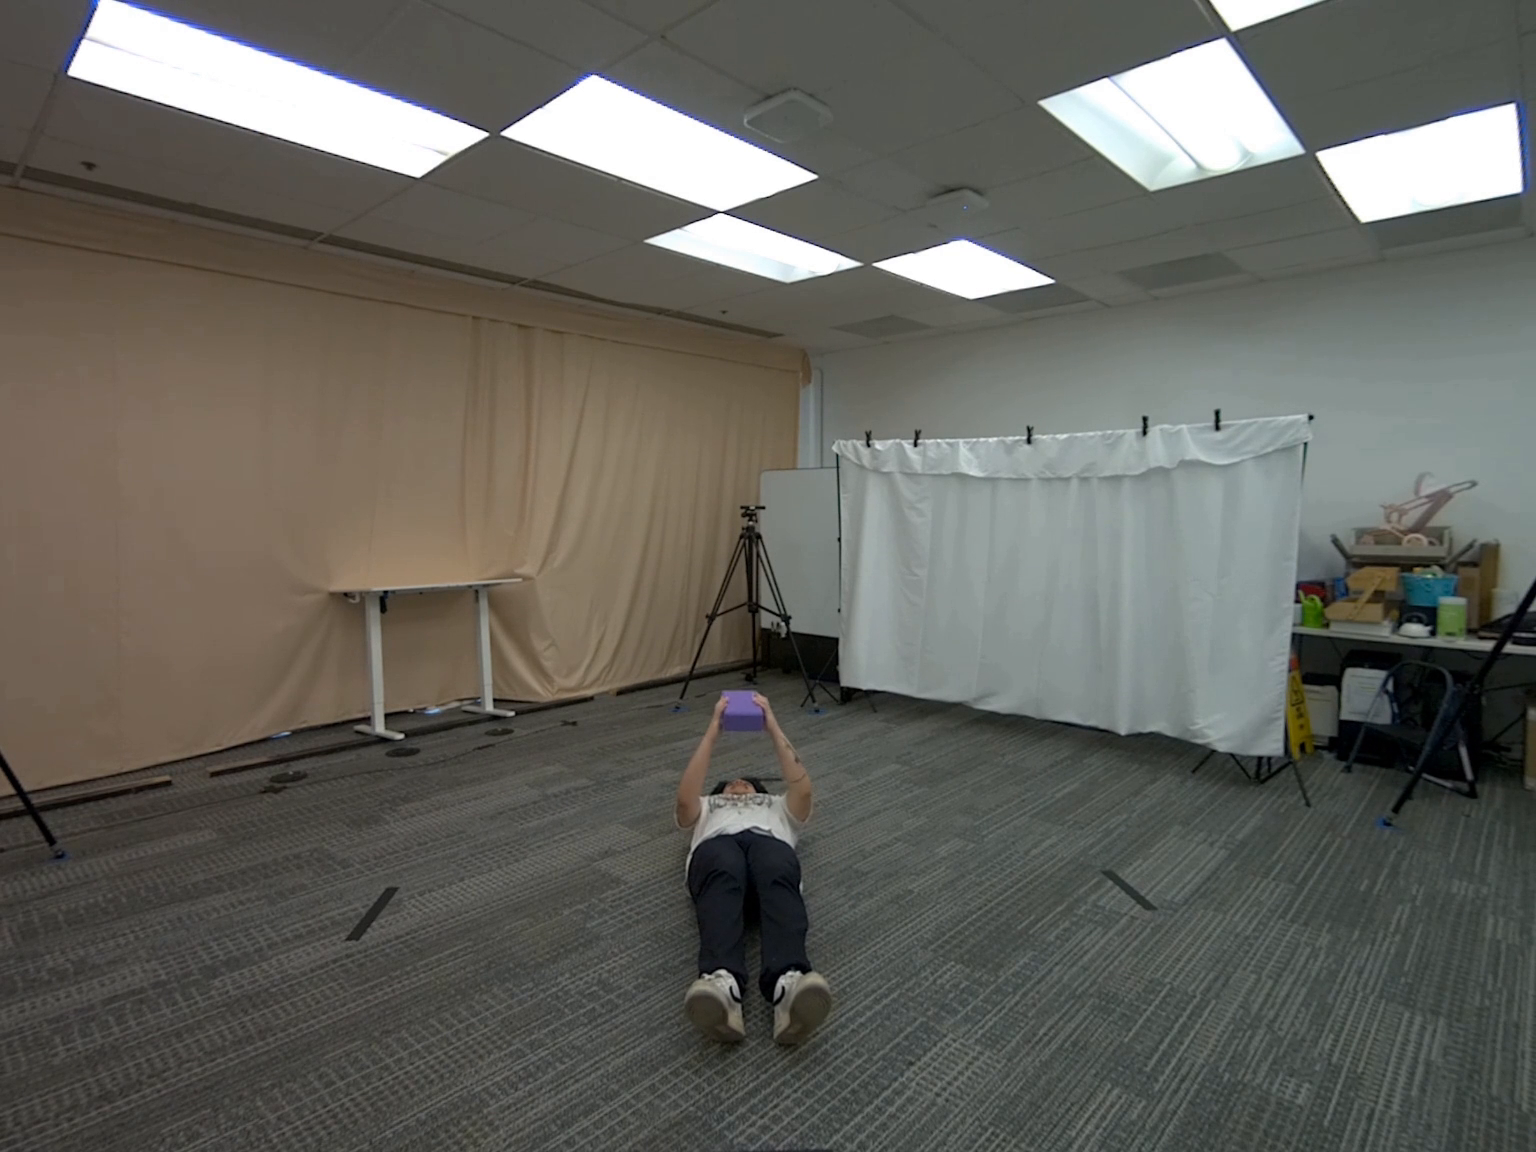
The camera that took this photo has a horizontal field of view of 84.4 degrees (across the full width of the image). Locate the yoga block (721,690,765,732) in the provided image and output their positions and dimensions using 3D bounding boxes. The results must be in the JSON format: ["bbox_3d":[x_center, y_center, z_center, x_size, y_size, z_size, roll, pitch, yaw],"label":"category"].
[{"bbox_3d":[-0.100,0.519,3.272,0.148,0.076,0.233,0,14,-7],"label":"yoga block"}]
